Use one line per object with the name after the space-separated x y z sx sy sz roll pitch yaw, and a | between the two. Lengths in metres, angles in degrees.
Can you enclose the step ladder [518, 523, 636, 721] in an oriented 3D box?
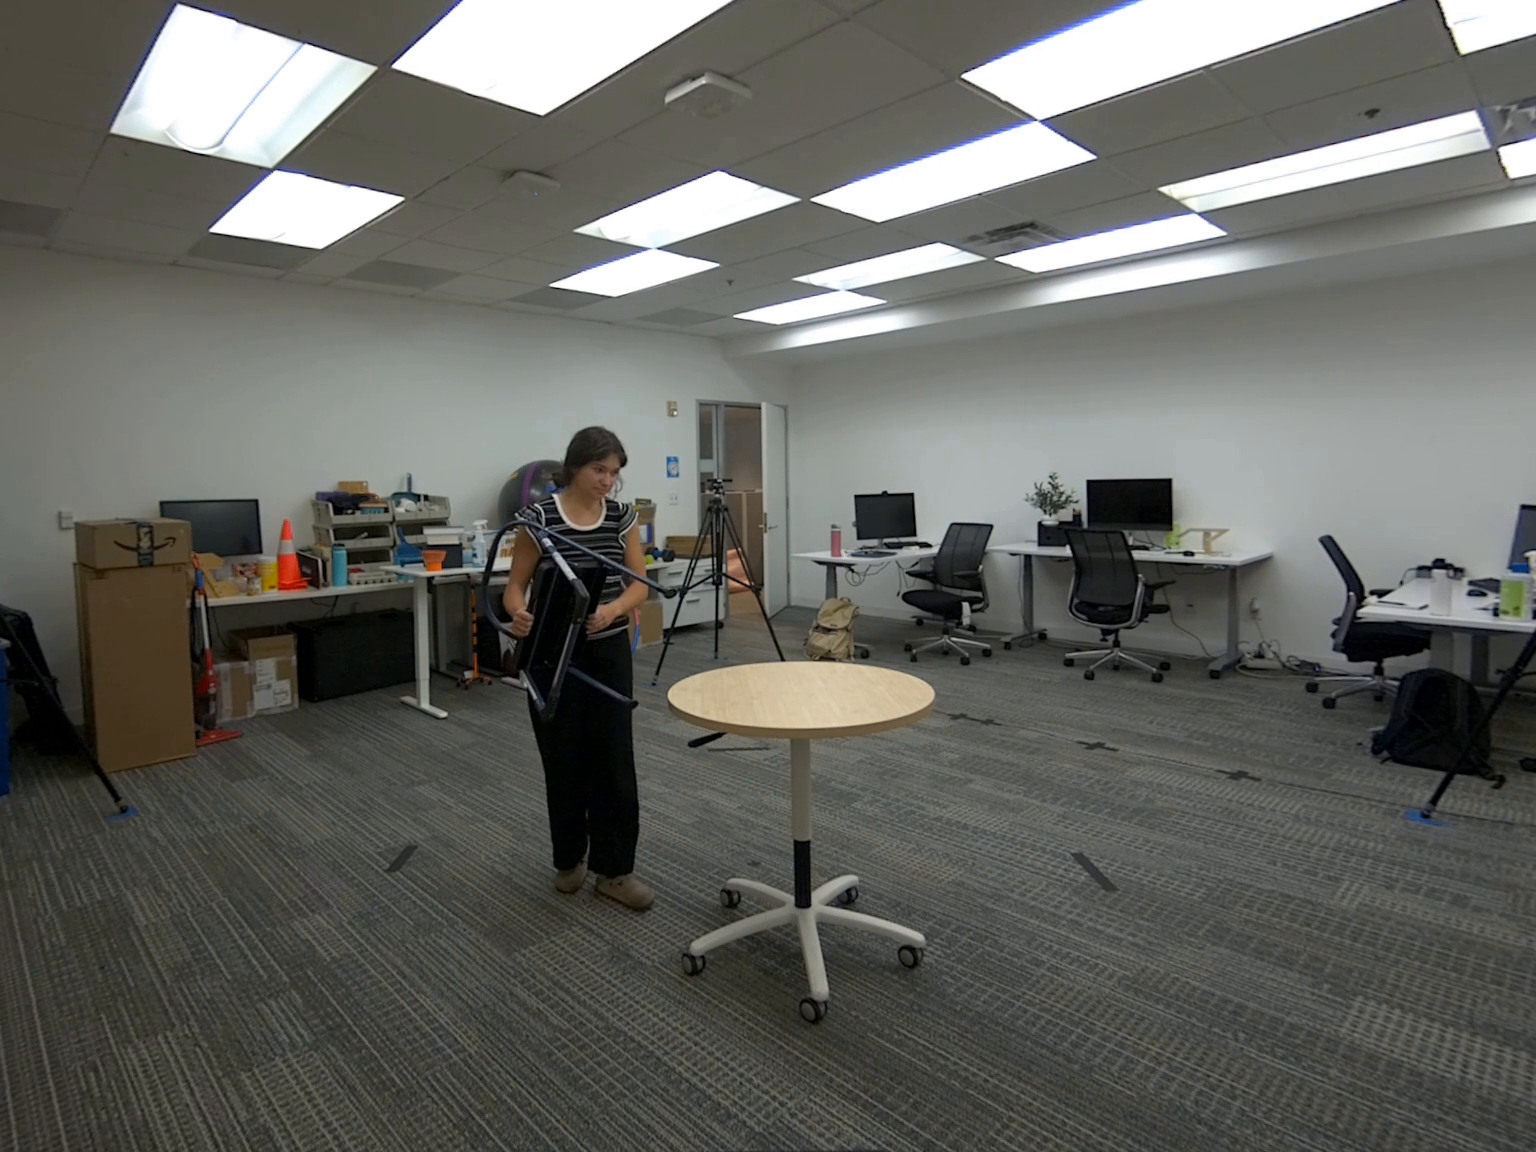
-0.664 0.095 2.682 0.629 0.427 0.339 33 21 37 | step ladder
